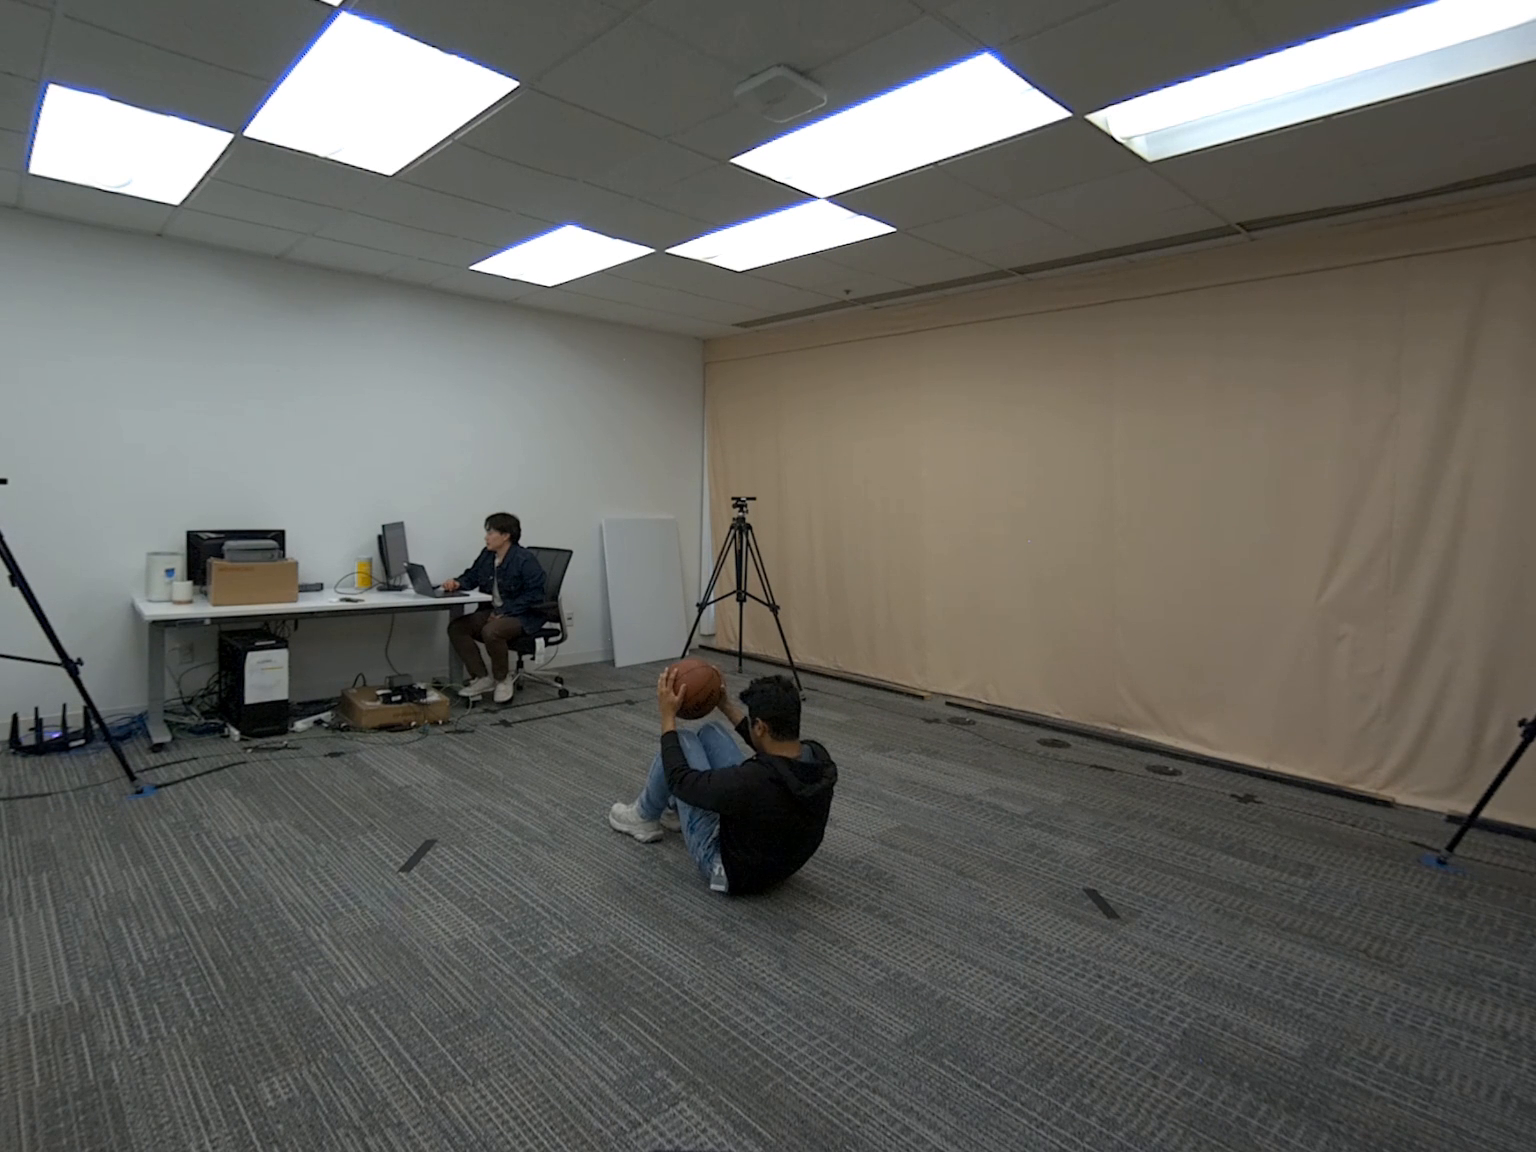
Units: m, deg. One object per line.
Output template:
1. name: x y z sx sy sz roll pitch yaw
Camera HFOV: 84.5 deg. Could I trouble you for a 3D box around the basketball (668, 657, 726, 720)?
1. basketball: -0.309 0.447 3.274 0.236 0.235 0.237 1 4 -1
